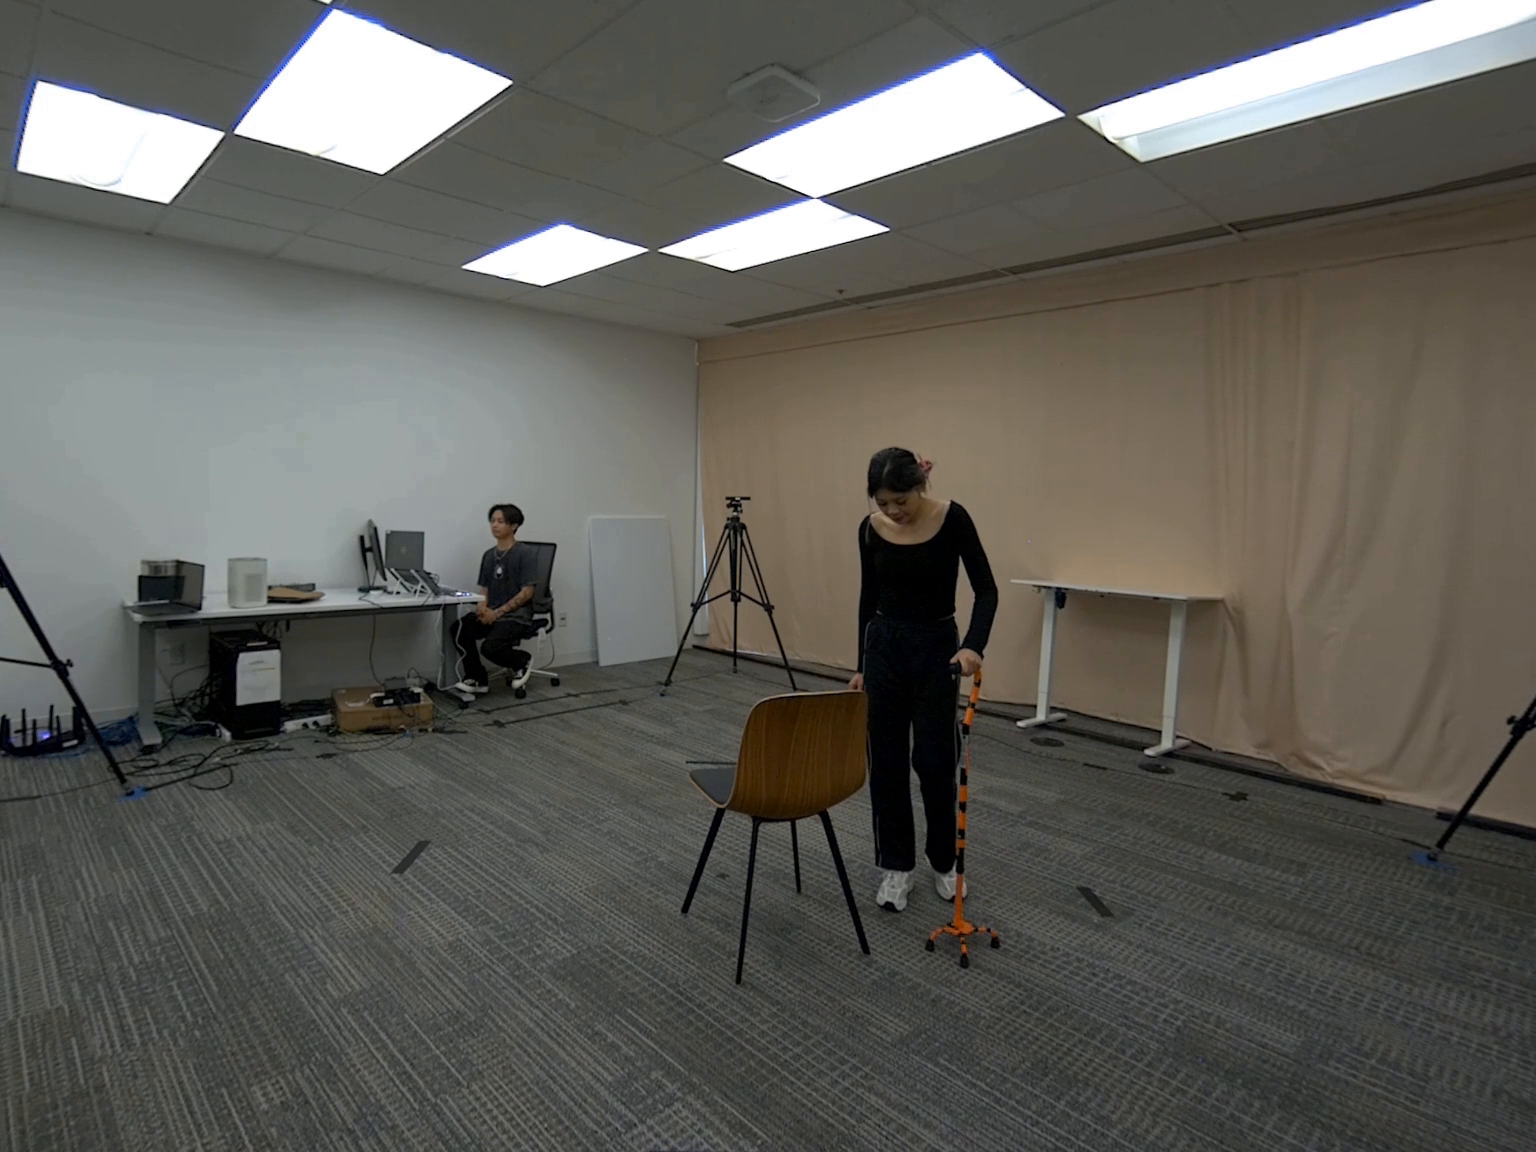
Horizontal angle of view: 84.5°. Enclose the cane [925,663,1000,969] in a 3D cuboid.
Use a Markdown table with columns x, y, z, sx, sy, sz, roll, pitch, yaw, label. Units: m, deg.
| x | y | z | sx | sy | sz | roll | pitch | yaw | label |
| --- | --- | --- | --- | --- | --- | --- | --- | --- | --- |
| 0.610 | 0.714 | 2.603 | 0.202 | 0.905 | 0.155 | -2 | 5 | -39 | cane |
